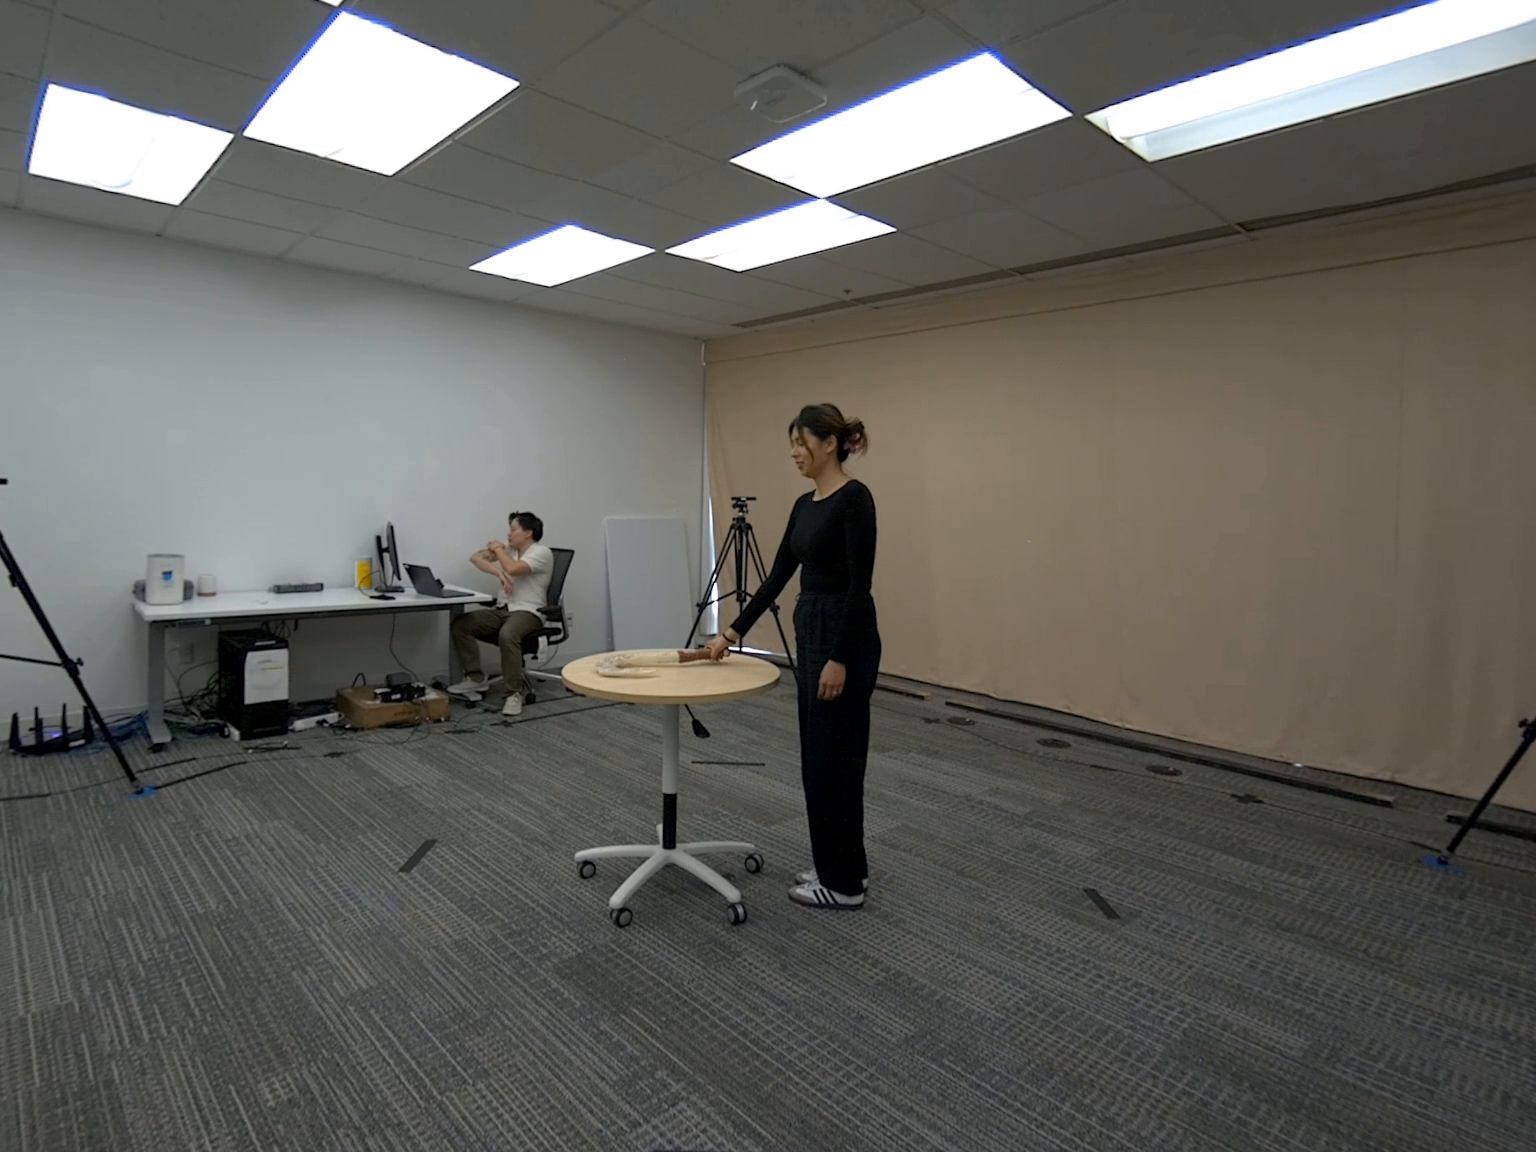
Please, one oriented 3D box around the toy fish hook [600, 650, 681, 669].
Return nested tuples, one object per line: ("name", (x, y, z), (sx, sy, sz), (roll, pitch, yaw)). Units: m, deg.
("toy fish hook", (-0.349, 0.312, 2.954), (0.499, 0.048, 0.230), (-5, 12, -21))
